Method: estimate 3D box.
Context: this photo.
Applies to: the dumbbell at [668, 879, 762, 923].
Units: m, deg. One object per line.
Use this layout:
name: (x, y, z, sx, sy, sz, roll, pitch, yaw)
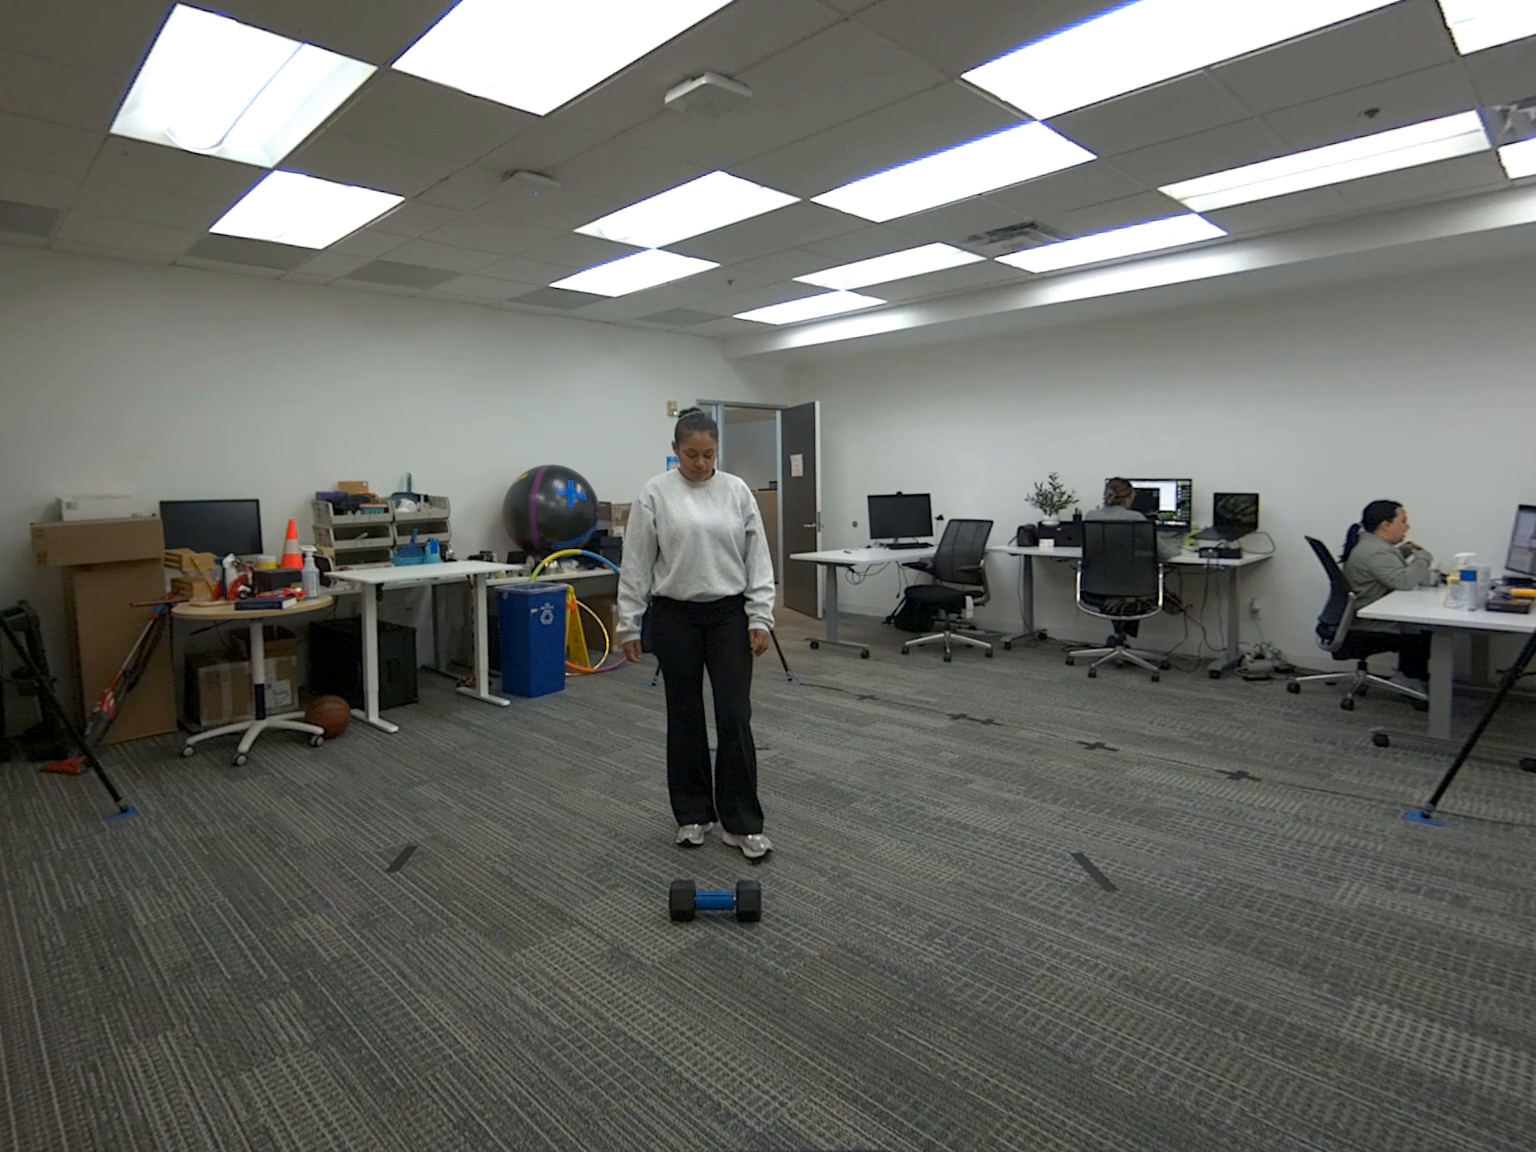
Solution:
dumbbell: (-0.167, 1.041, 2.729, 0.294, 0.125, 0.106, -1, -25, 1)
